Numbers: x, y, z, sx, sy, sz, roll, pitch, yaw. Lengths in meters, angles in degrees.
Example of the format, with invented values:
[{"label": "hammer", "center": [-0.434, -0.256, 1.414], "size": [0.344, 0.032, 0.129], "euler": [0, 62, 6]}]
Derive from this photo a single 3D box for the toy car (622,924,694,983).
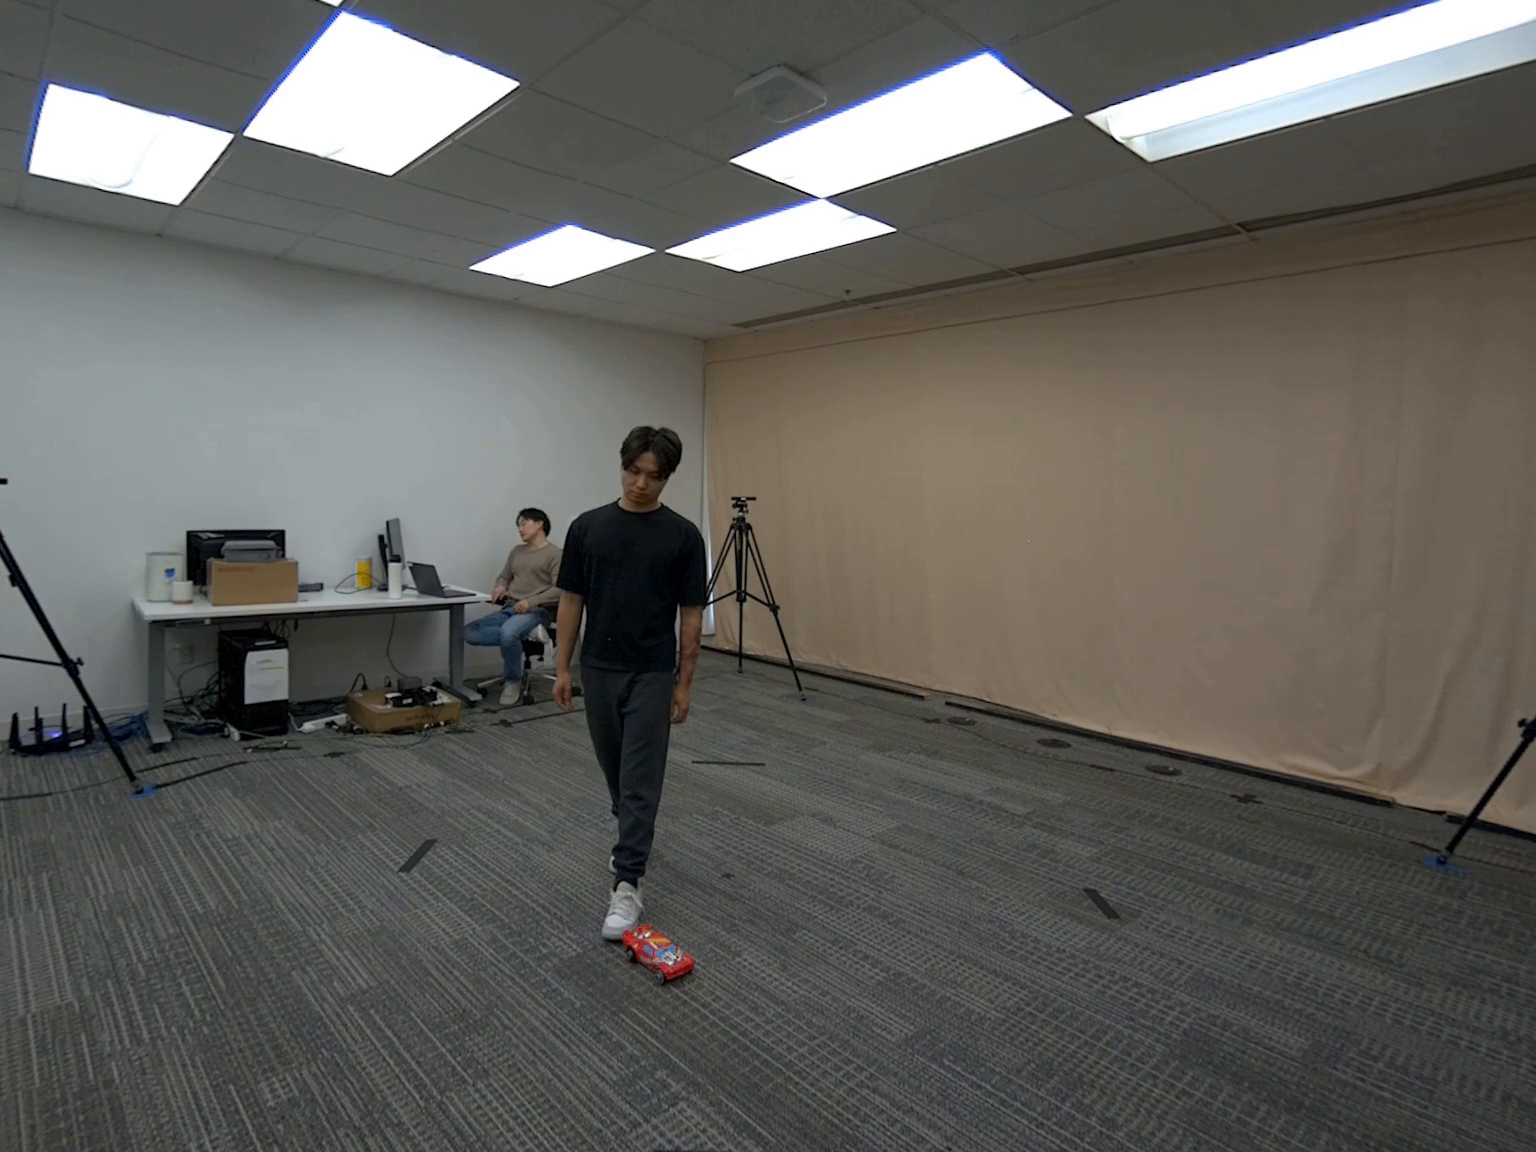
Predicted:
[{"label": "toy car", "center": [-0.349, 1.124, 2.510], "size": [0.127, 0.082, 0.262], "euler": [-3, 17, -41]}]
